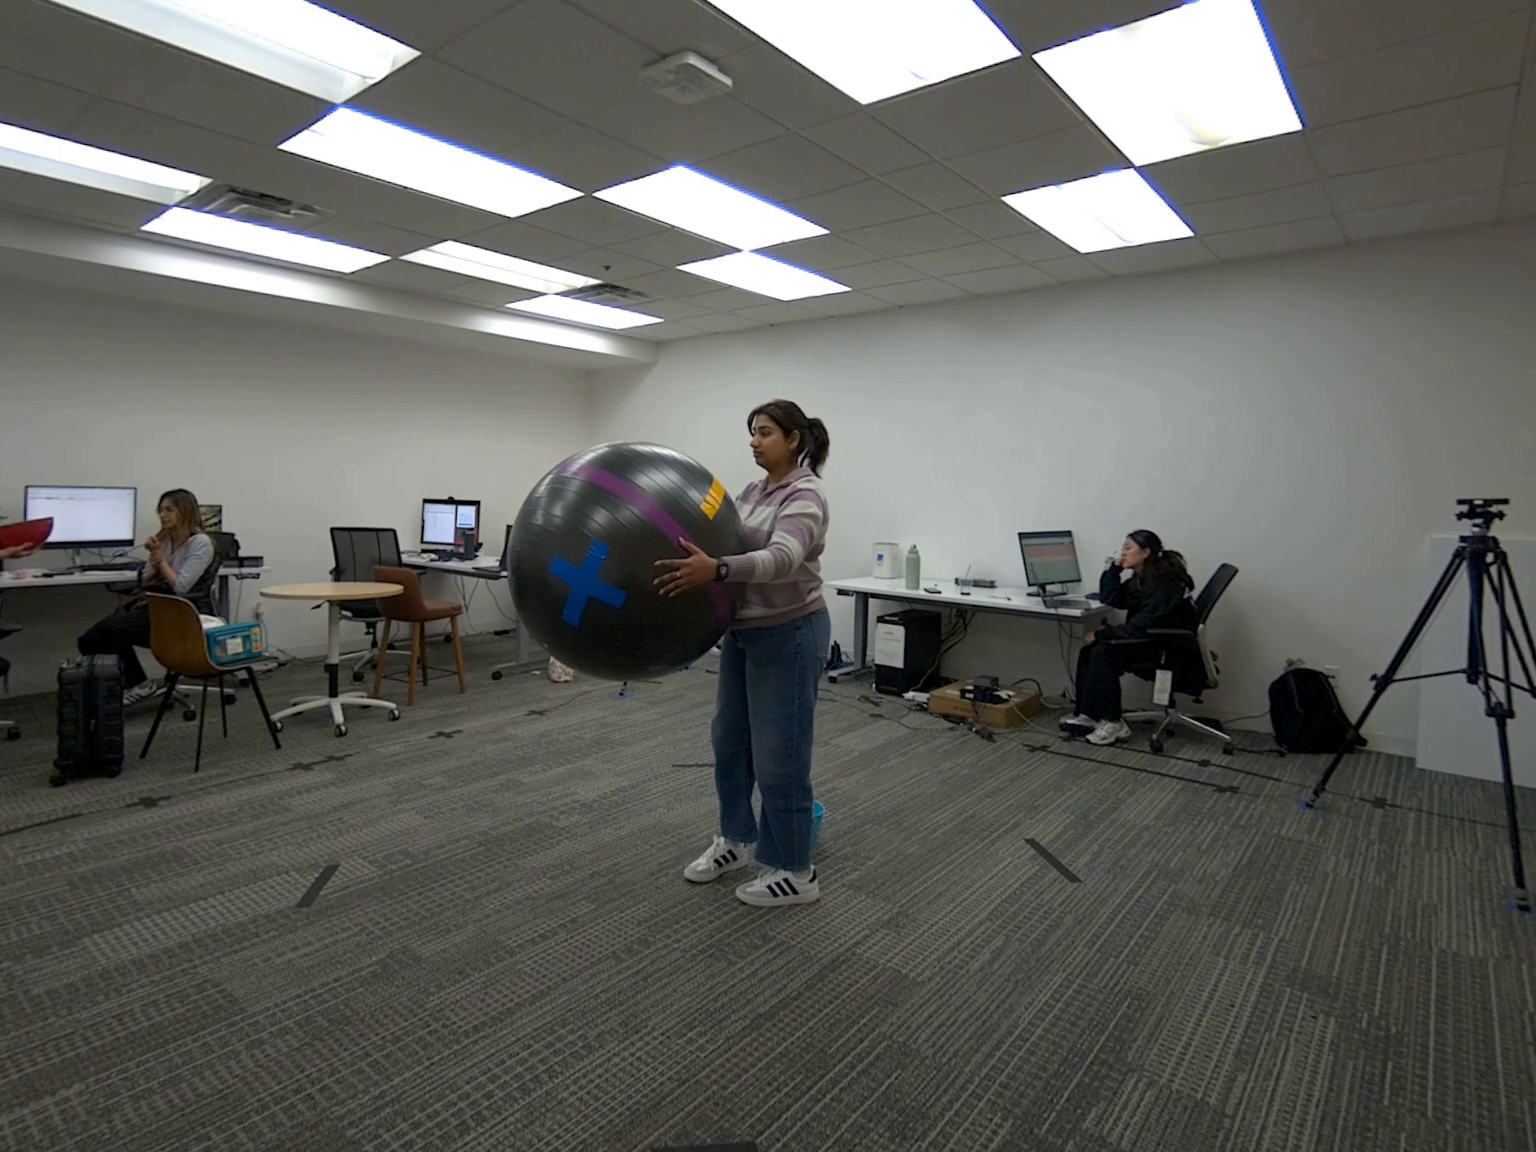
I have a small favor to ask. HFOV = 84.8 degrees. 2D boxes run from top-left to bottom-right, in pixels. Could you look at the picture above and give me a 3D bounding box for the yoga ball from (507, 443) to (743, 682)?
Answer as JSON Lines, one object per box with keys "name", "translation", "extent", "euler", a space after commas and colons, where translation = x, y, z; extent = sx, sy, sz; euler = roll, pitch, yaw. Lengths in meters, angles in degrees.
{"name": "yoga ball", "translation": [-0.454, -0.042, 2.690], "extent": [0.757, 0.756, 0.762], "euler": [1, 4, -2]}
